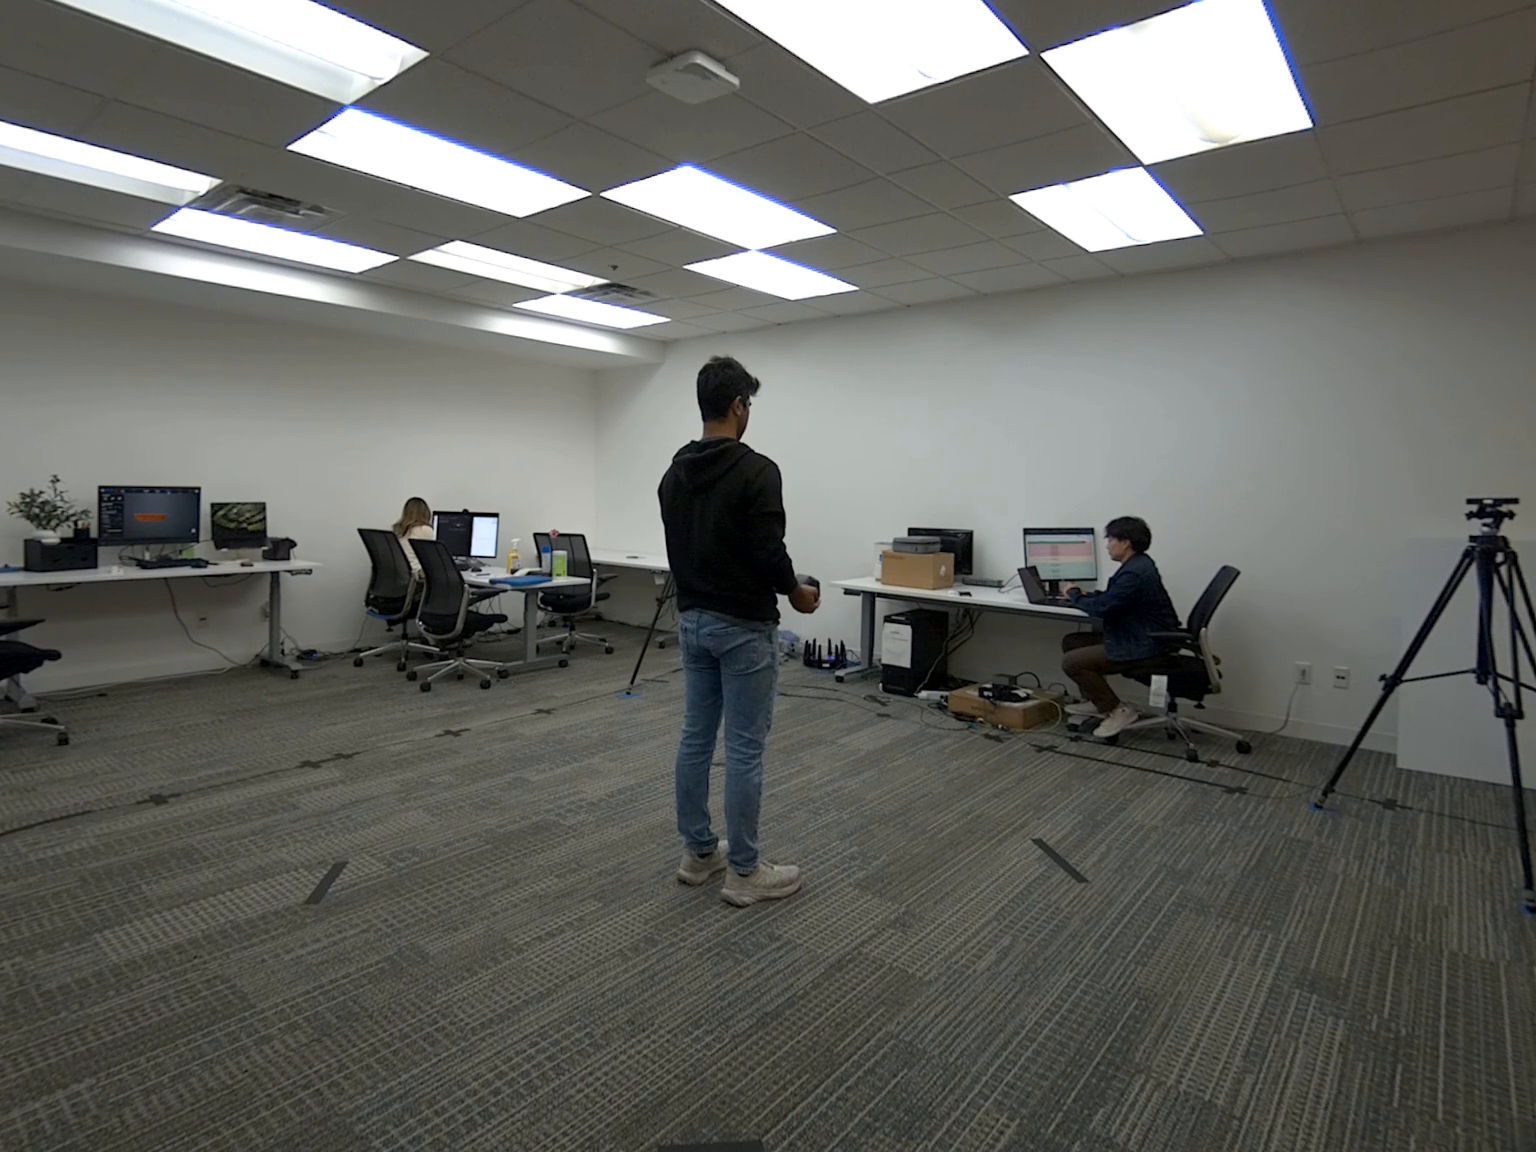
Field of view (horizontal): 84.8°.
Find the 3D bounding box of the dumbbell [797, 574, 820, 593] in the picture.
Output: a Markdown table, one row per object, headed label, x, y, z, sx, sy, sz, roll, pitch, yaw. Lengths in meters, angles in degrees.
| label | x | y | z | sx | sy | sz | roll | pitch | yaw |
| --- | --- | --- | --- | --- | --- | --- | --- | --- | --- |
| dumbbell | 0.041 | 0.036 | 3.158 | 0.304 | 0.121 | 0.106 | 8 | 19 | 43 |
